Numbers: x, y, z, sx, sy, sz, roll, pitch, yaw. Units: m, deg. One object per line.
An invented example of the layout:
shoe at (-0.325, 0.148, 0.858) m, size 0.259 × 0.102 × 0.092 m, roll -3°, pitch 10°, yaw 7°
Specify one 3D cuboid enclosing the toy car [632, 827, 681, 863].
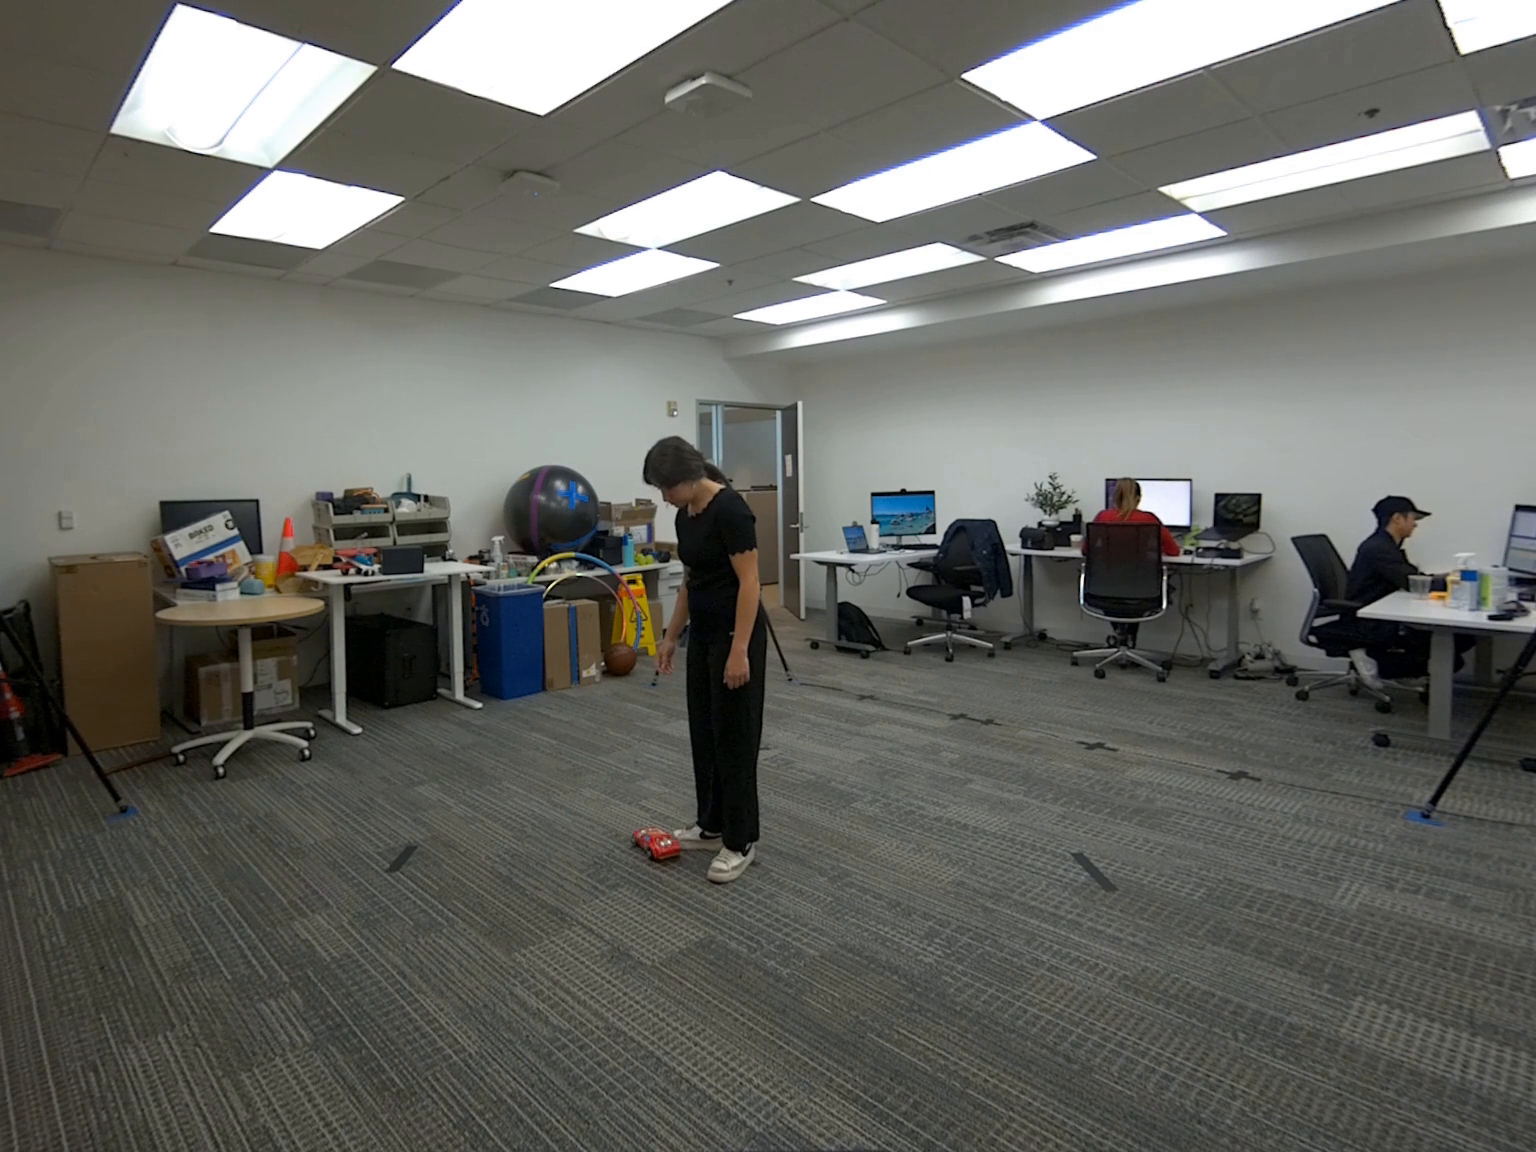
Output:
toy car at (-0.415, 1.006, 3.208) m, size 0.127 × 0.083 × 0.259 m, roll -2°, pitch -5°, yaw -31°
